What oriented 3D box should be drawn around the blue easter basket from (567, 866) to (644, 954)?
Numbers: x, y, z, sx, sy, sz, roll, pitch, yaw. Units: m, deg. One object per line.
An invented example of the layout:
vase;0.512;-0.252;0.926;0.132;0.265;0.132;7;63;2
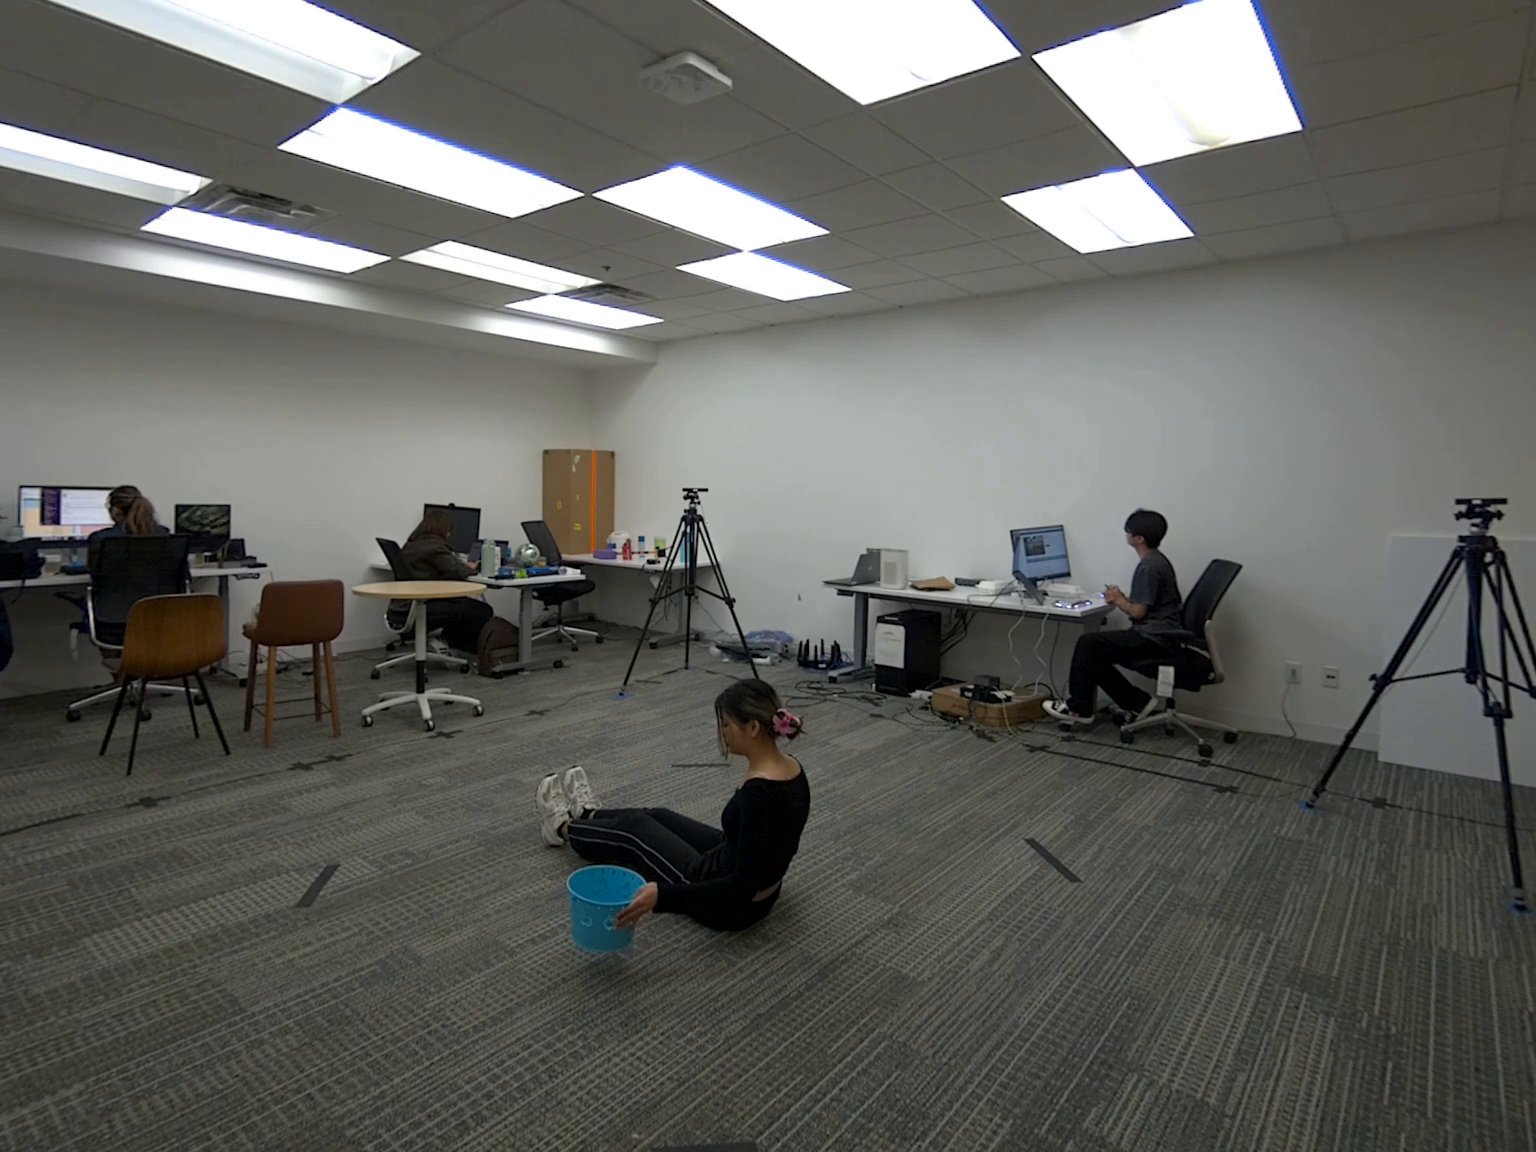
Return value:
blue easter basket;-0.478;0.963;2.460;0.243;0.155;0.245;6;5;-2
